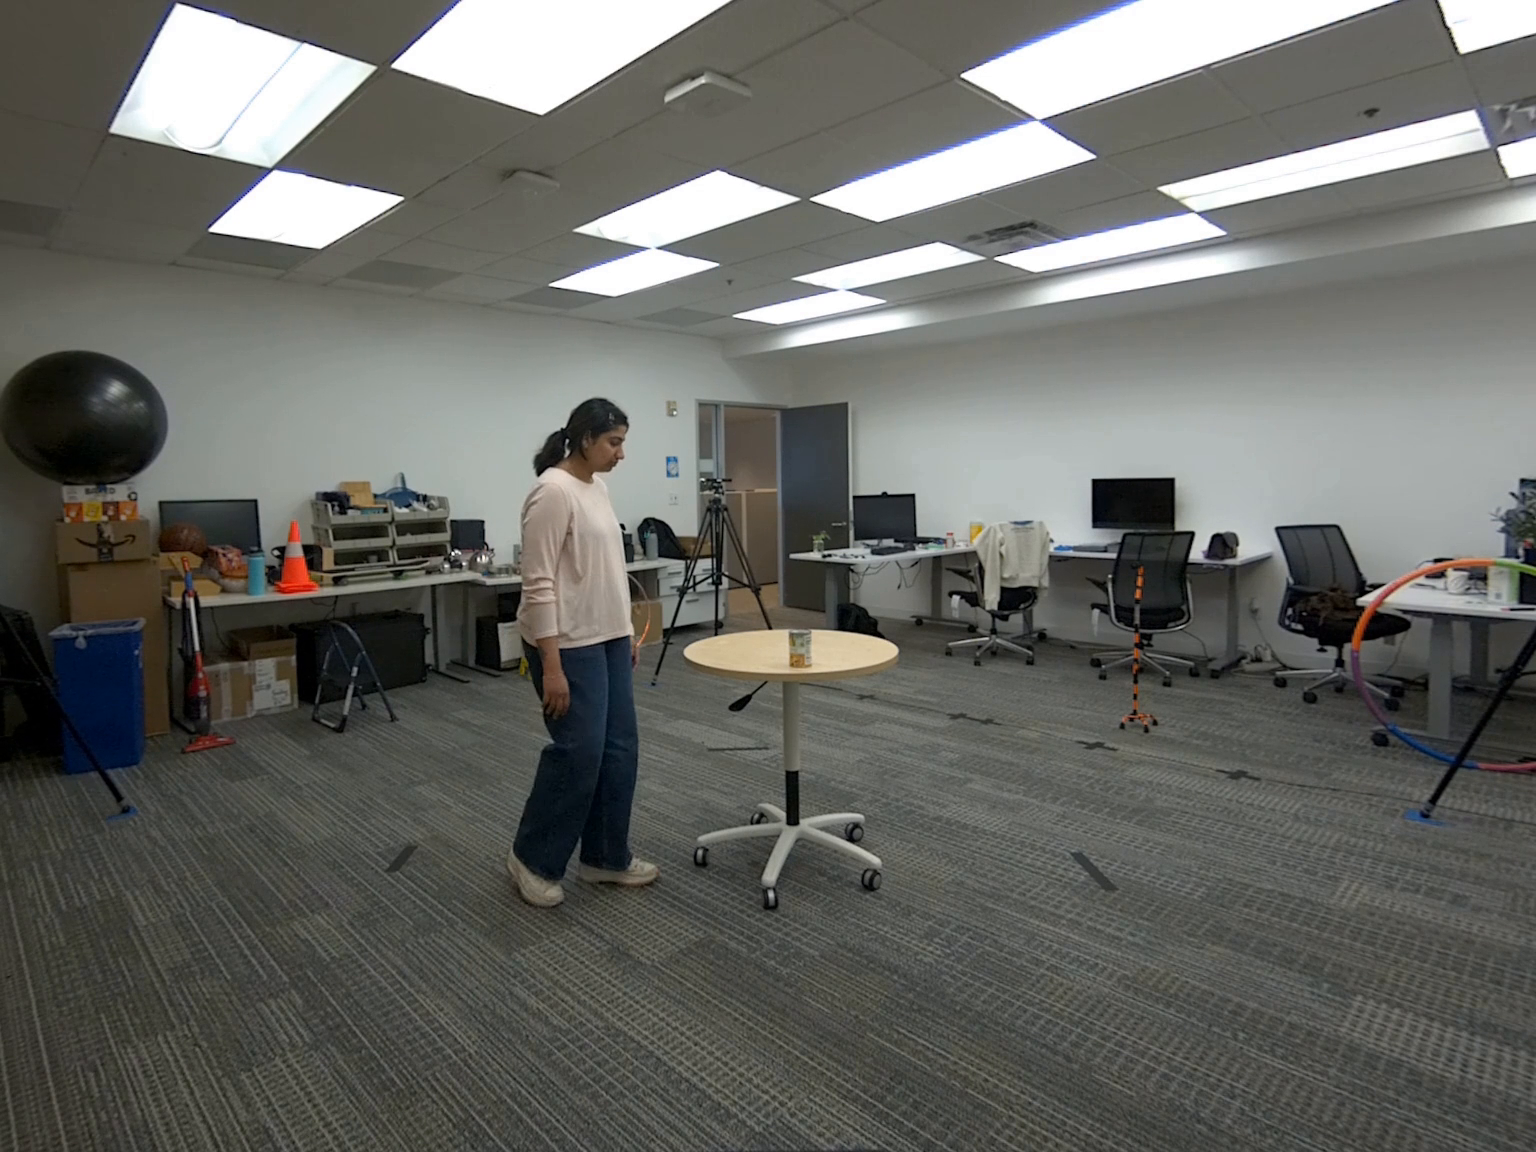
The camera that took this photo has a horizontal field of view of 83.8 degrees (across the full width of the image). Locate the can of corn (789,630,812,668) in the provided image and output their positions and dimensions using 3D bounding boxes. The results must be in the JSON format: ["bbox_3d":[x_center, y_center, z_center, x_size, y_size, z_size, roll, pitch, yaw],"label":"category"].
[{"bbox_3d":[0.103,0.234,2.791,0.074,0.110,0.074,-2,5,-1],"label":"can of corn"}]
